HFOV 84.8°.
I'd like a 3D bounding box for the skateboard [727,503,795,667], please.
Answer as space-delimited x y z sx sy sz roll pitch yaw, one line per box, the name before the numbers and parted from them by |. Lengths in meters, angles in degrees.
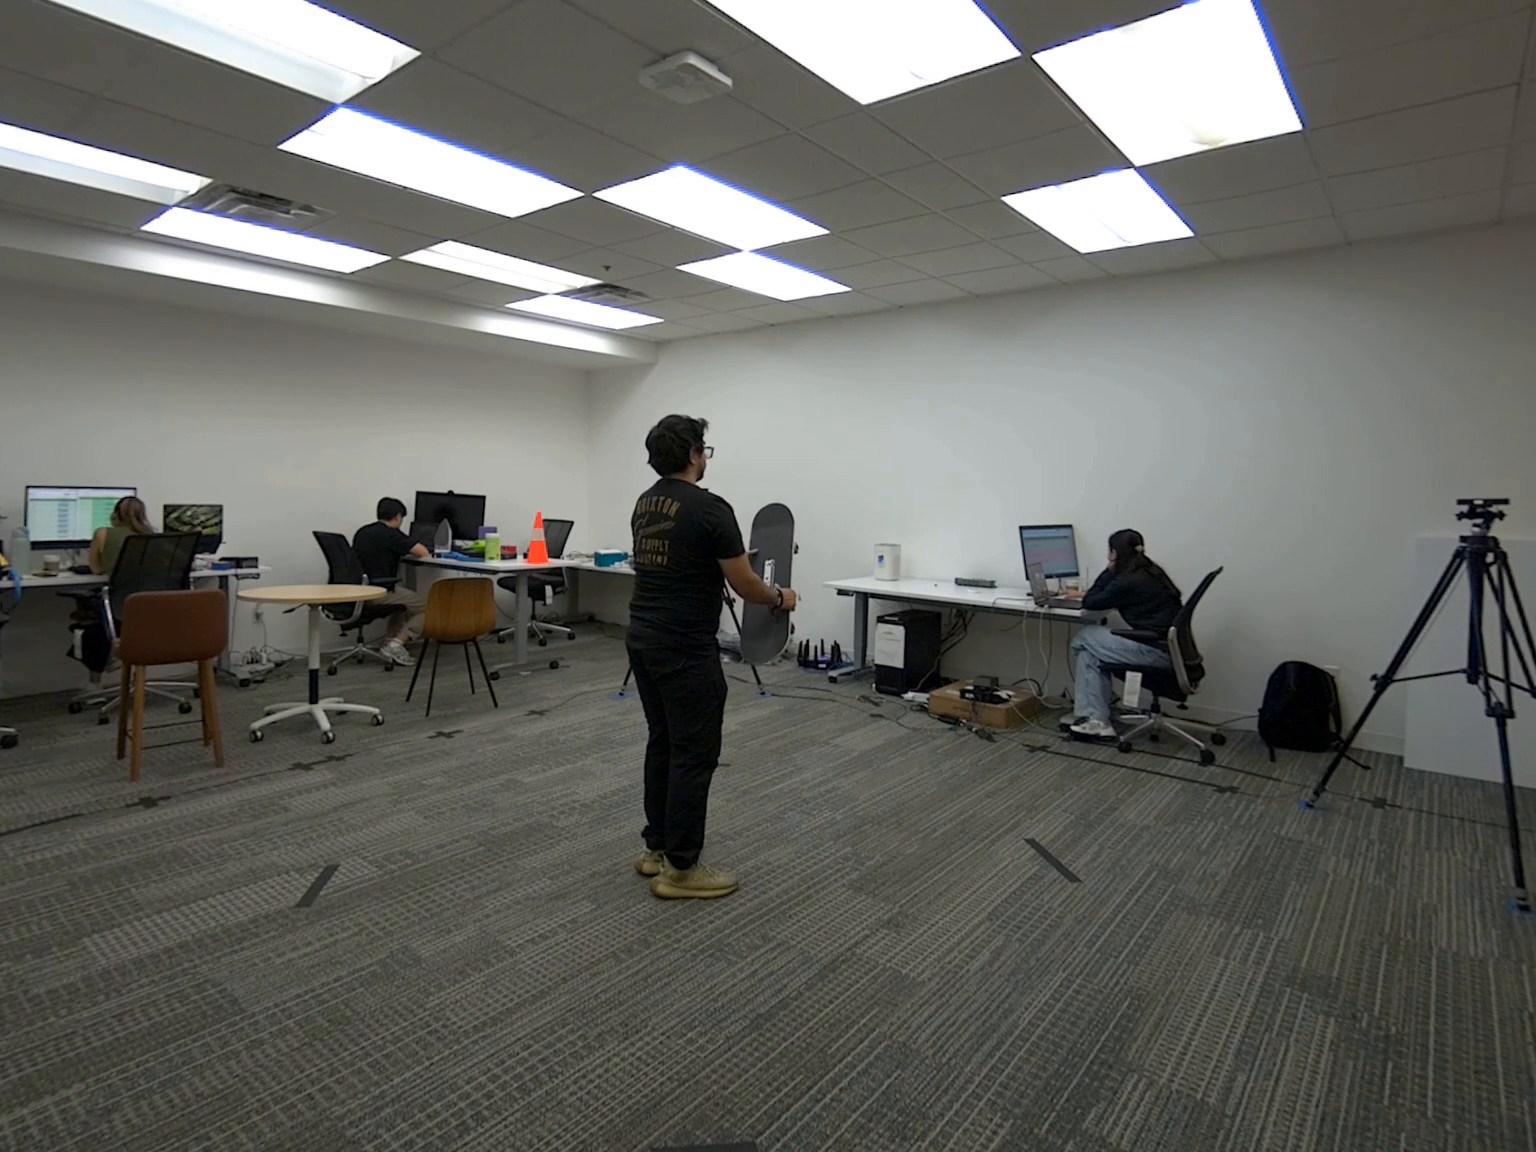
skateboard | 0.007 0.037 3.348 0.196 0.805 0.106 -11 -42 18
